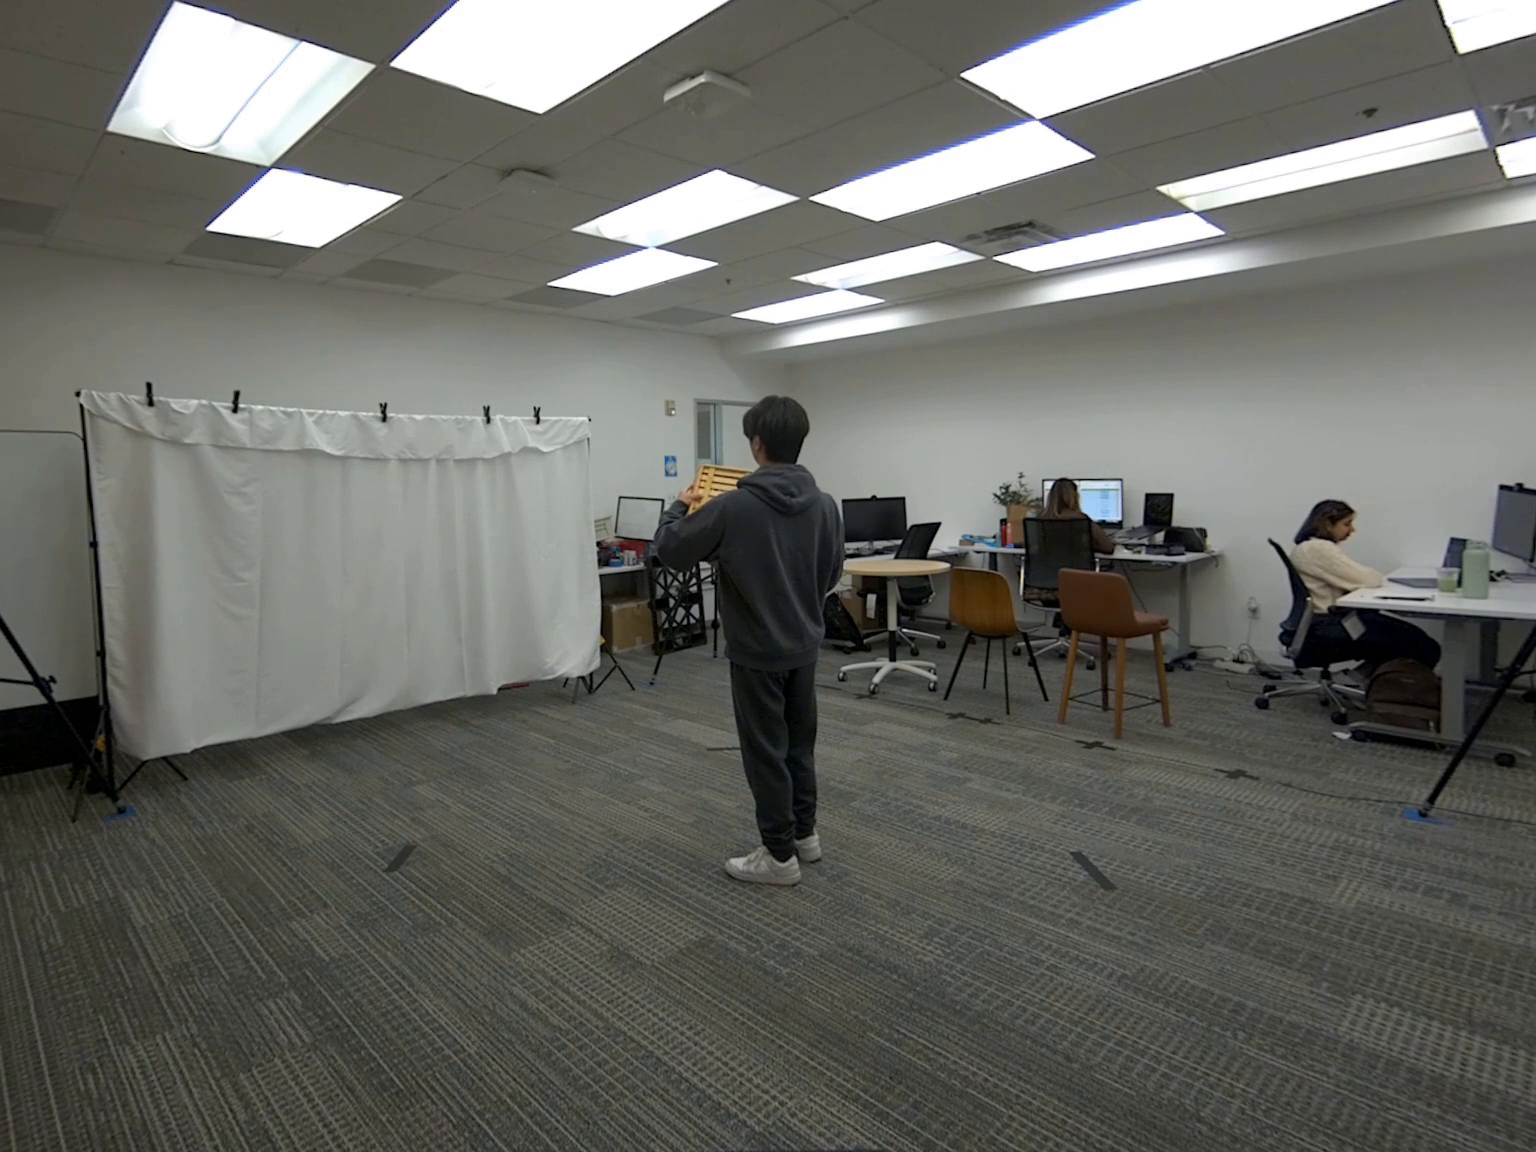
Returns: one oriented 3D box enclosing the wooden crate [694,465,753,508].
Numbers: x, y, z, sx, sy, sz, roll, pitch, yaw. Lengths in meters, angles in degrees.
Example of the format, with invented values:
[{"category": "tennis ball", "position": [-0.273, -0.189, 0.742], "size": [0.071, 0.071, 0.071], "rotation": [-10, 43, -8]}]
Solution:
[{"category": "wooden crate", "position": [-0.150, -0.202, 3.195], "size": [0.303, 0.267, 0.331], "rotation": [8, 42, 1]}]
